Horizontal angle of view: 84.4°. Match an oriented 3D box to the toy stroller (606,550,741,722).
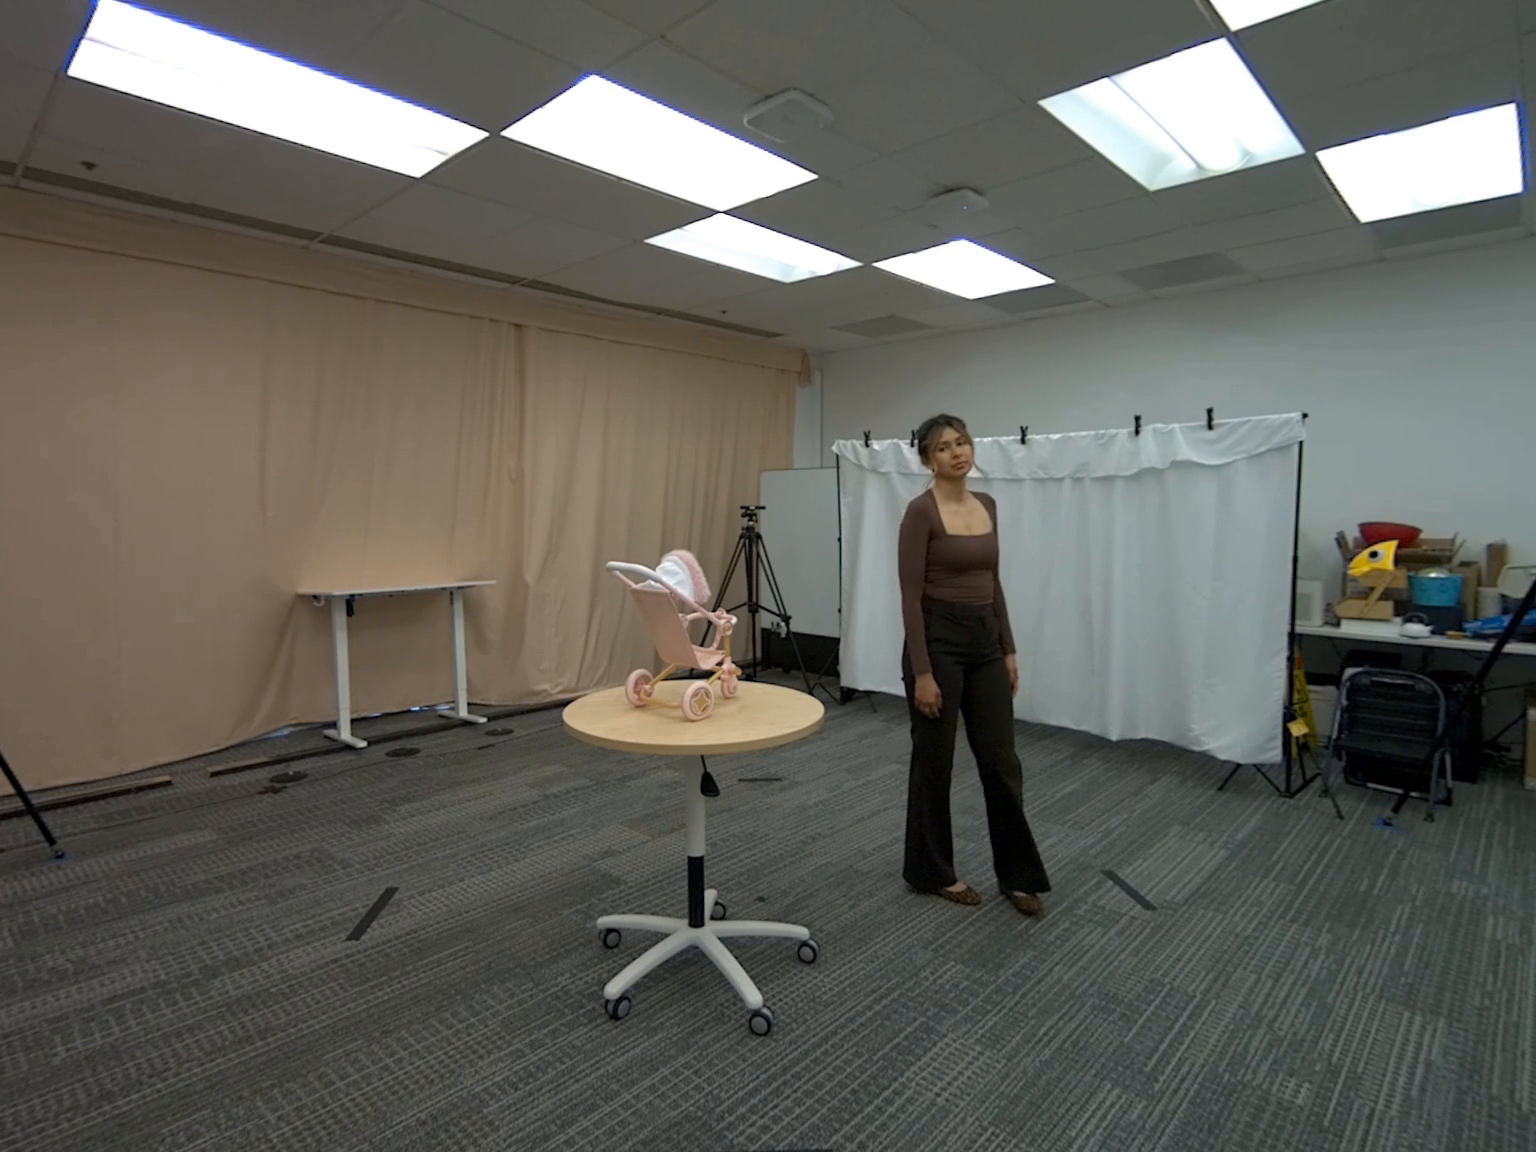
[{"bbox_3d":[-0.243,0.169,2.457,0.333,0.529,0.291,-21,16,-39],"label":"toy stroller"}]
